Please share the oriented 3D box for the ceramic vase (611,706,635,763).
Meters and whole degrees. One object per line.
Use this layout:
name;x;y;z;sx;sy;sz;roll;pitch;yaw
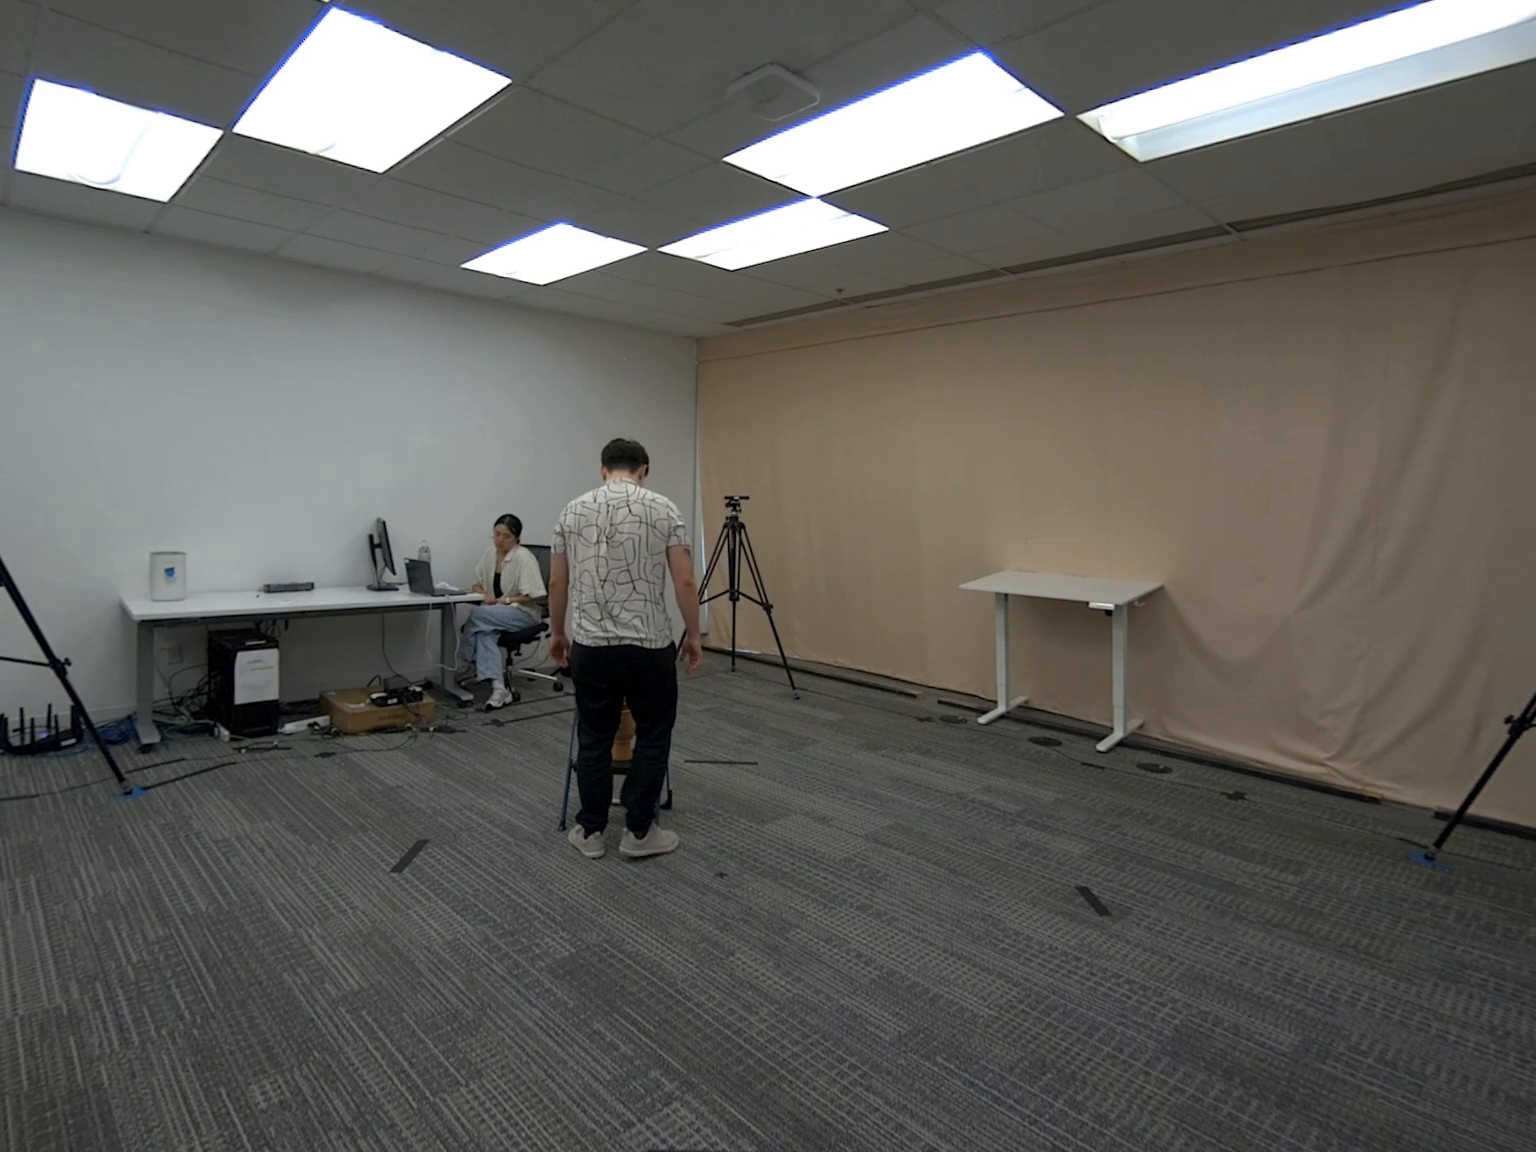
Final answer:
ceramic vase;-0.636;0.671;3.617;0.138;0.219;0.155;2;4;40
